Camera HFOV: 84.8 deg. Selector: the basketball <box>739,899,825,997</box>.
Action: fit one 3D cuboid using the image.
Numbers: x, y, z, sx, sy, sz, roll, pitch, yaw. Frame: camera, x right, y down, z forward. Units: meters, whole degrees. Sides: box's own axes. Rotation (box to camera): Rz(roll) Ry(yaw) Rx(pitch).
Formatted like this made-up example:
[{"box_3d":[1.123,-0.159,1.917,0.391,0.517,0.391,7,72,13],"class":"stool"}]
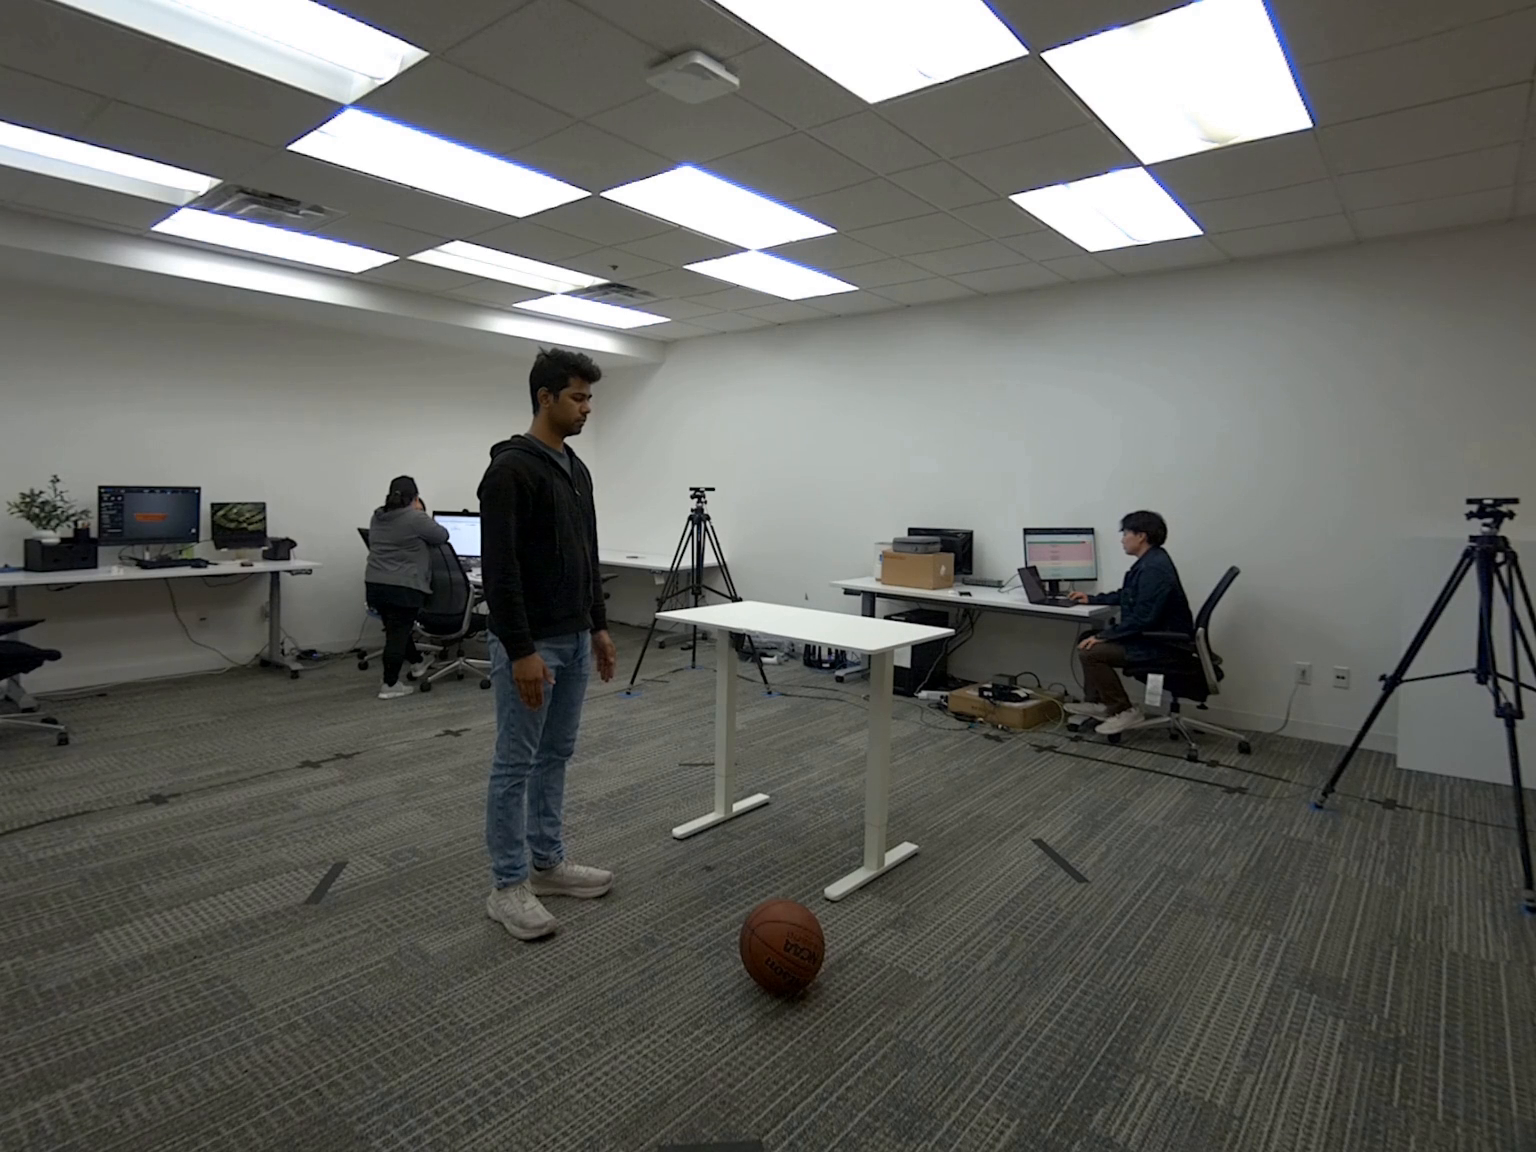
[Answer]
[{"box_3d":[0.034,1.019,2.373,0.235,0.235,0.237,1,4,-2],"class":"basketball"}]
